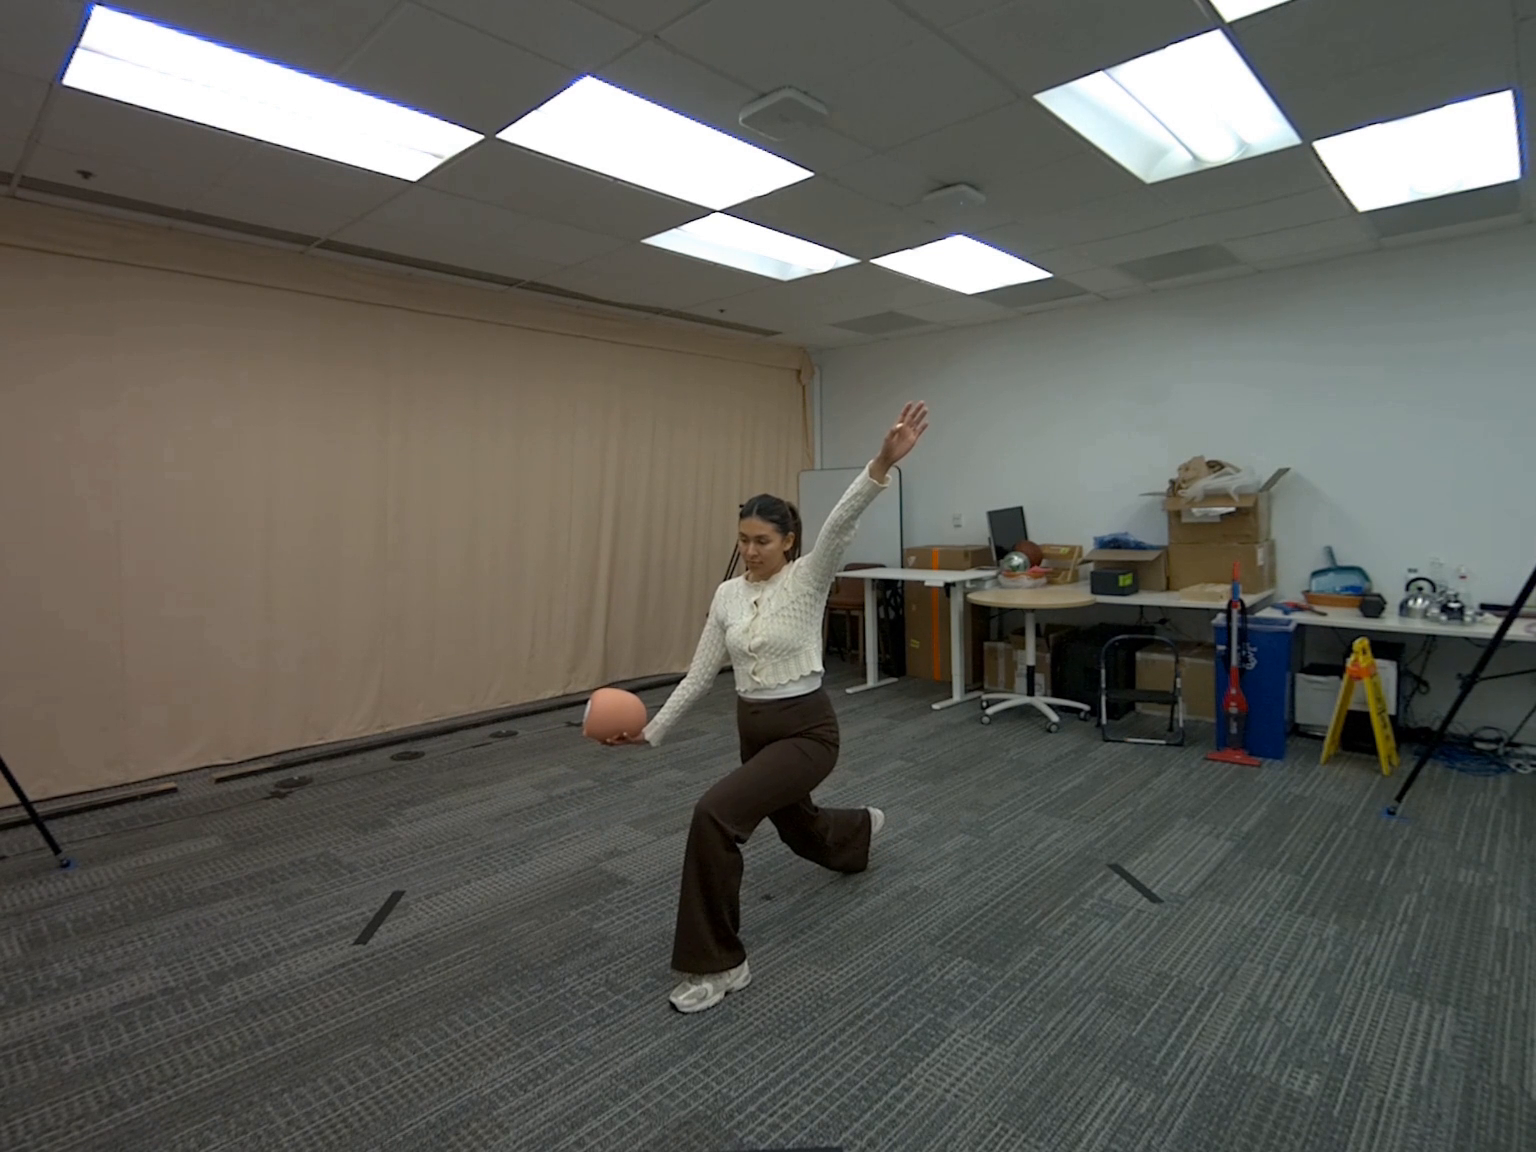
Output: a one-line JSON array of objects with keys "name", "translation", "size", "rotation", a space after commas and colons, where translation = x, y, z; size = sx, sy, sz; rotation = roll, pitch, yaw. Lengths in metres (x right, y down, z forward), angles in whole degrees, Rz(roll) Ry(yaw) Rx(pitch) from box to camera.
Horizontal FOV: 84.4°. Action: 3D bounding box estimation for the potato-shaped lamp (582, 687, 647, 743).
[{"name": "potato-shaped lamp", "translation": [-0.496, 0.462, 2.764], "size": [0.195, 0.171, 0.168], "rotation": [16, 15, -13]}]
